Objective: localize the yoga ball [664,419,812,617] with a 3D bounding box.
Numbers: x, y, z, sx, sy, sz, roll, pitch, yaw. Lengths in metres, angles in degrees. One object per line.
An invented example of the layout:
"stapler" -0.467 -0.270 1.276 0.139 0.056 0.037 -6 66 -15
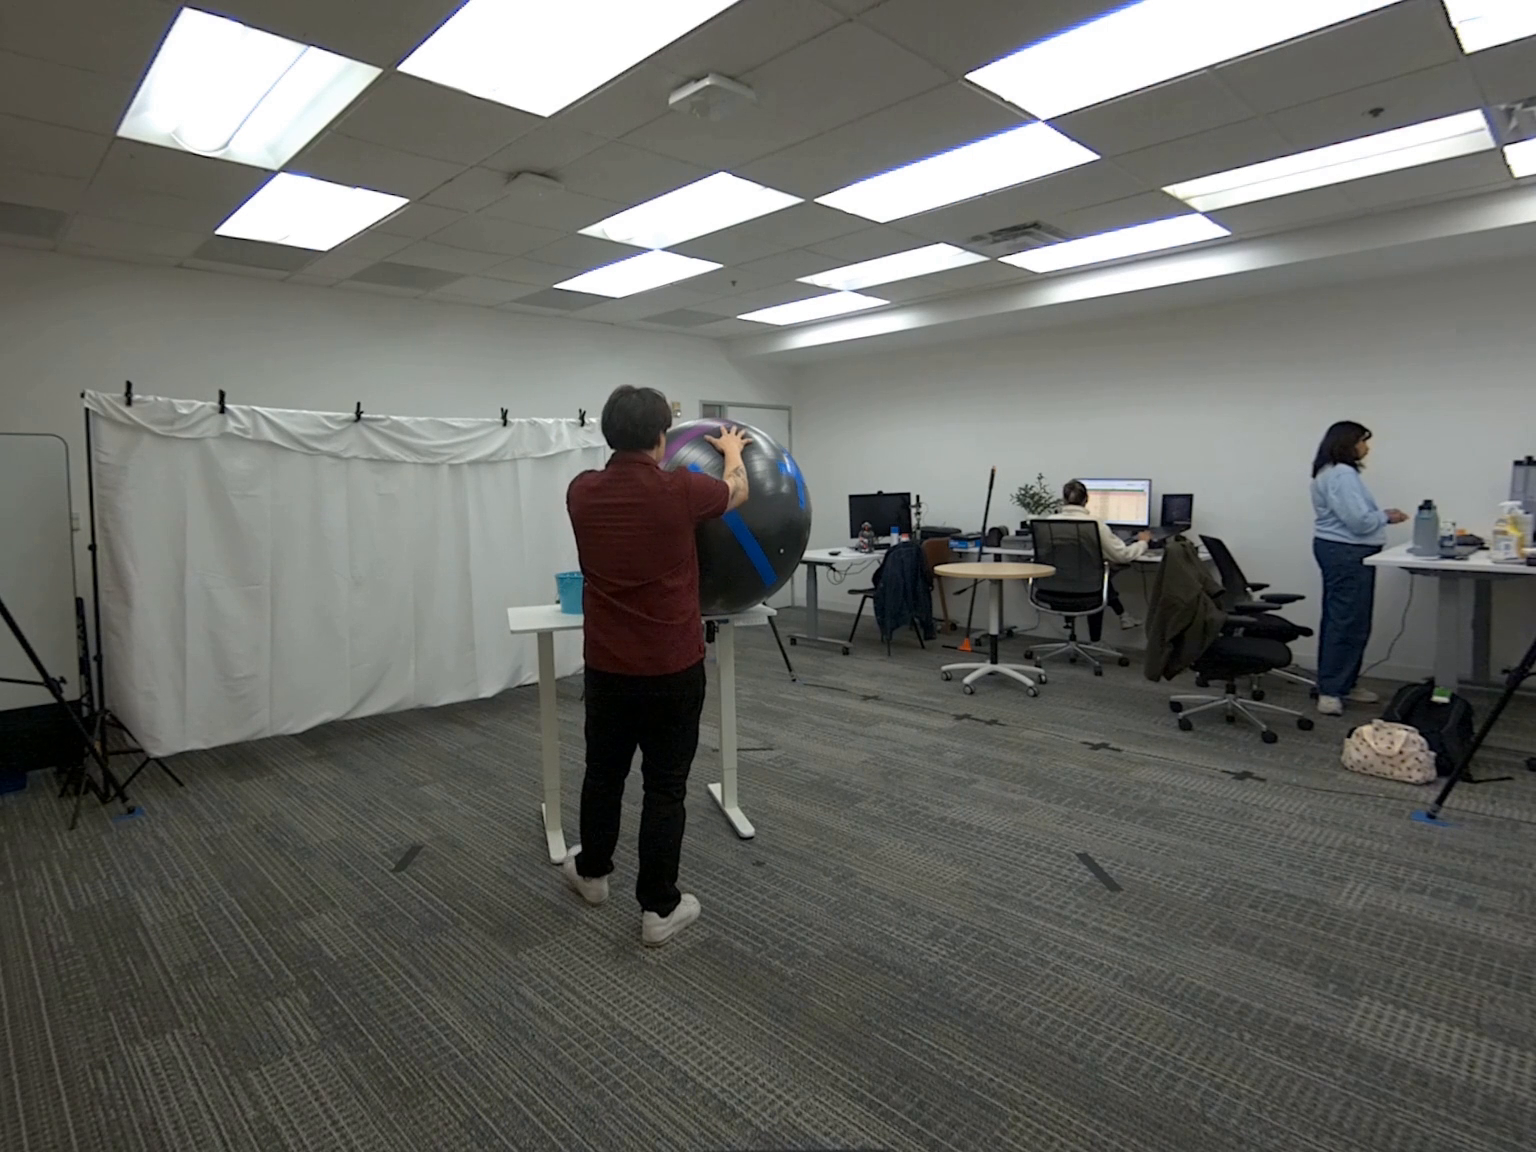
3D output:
"yoga ball" -0.214 -0.221 3.300 0.757 0.755 0.762 -1 5 -2
